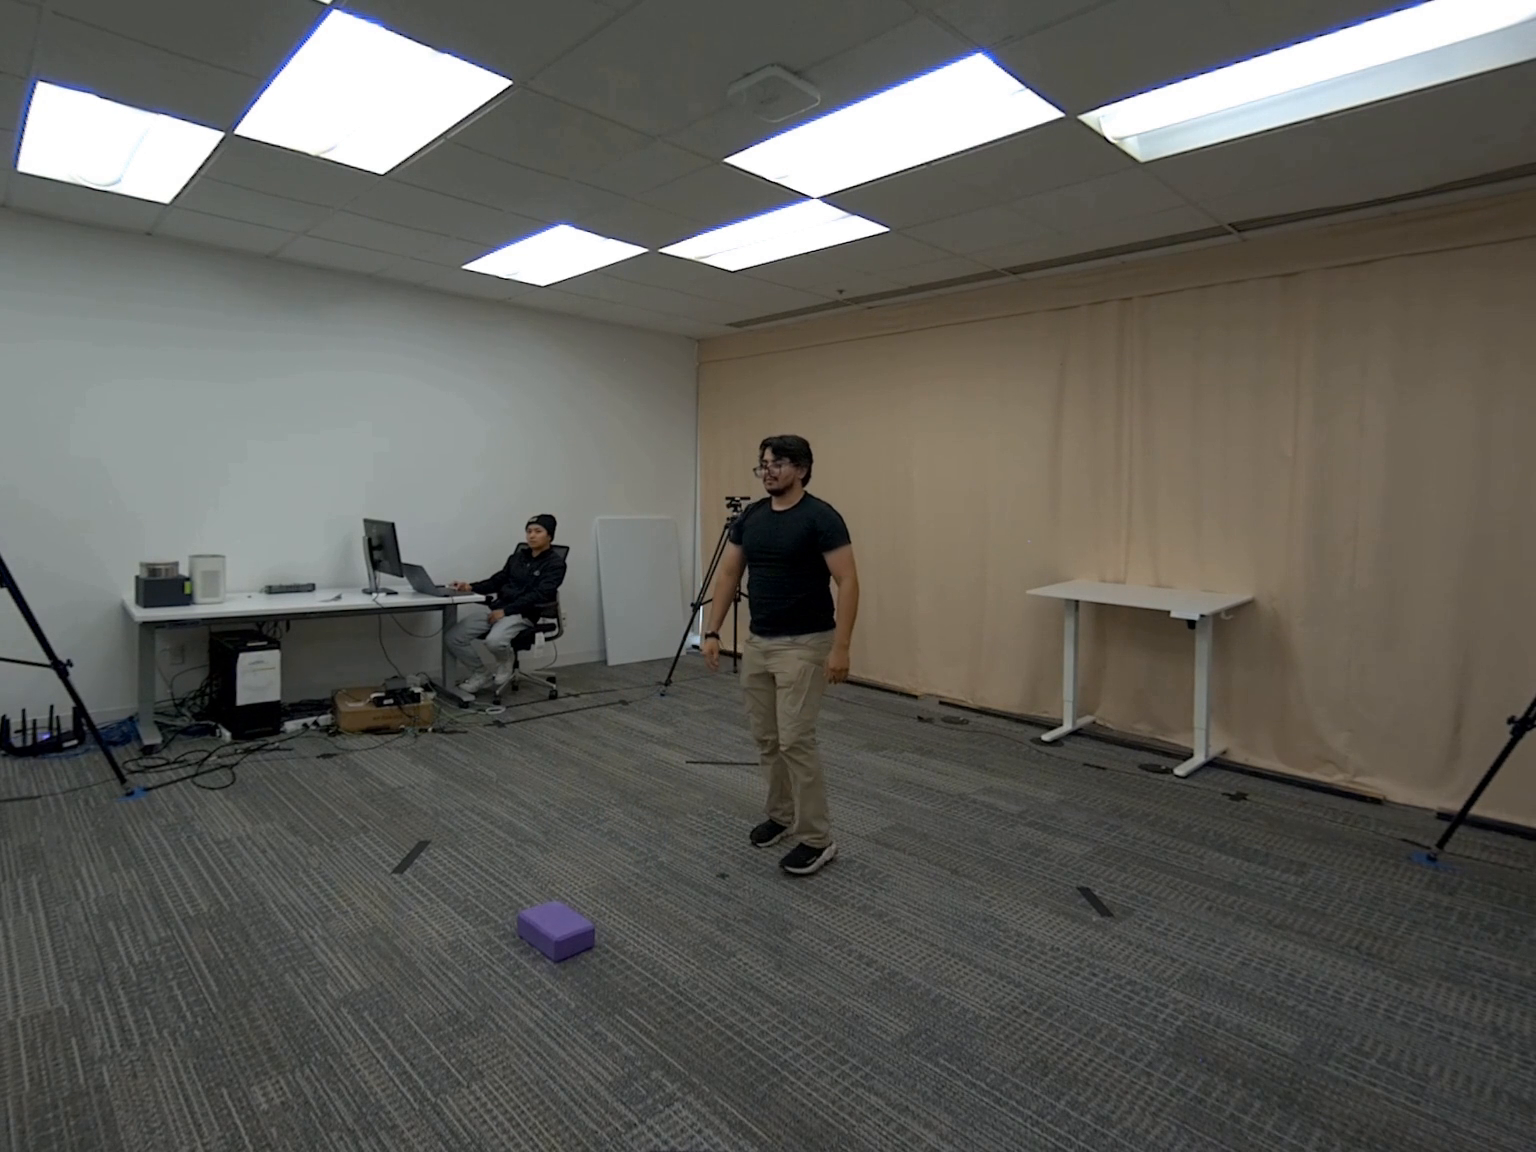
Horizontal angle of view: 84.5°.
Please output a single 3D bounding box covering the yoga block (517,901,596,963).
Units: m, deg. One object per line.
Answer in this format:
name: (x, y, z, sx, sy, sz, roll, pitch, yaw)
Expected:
yoga block: (-0.667, 1.103, 2.619, 0.235, 0.076, 0.145, 6, 6, 44)
